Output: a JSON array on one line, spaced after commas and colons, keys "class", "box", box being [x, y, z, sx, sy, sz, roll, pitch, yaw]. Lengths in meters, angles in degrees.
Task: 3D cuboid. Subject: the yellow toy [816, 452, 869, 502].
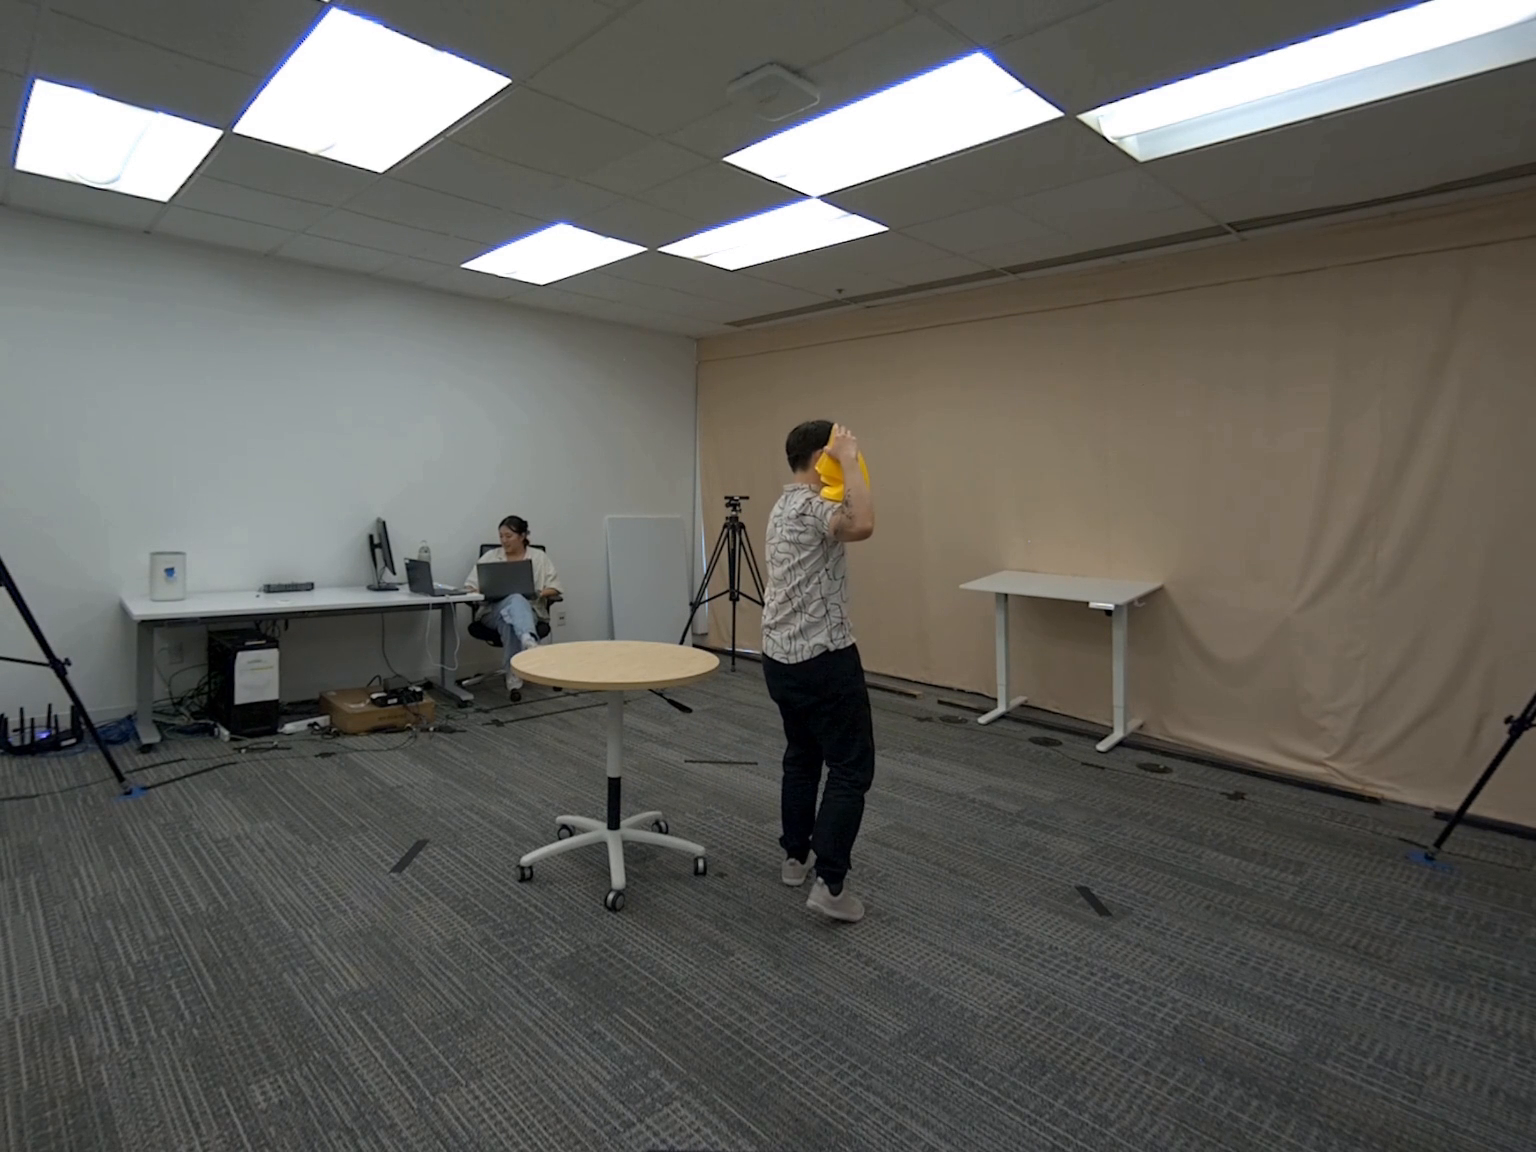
[{"class": "yellow toy", "box": [0.257, -0.377, 2.812, 0.193, 0.229, 0.206, 9, 12, 0]}]
